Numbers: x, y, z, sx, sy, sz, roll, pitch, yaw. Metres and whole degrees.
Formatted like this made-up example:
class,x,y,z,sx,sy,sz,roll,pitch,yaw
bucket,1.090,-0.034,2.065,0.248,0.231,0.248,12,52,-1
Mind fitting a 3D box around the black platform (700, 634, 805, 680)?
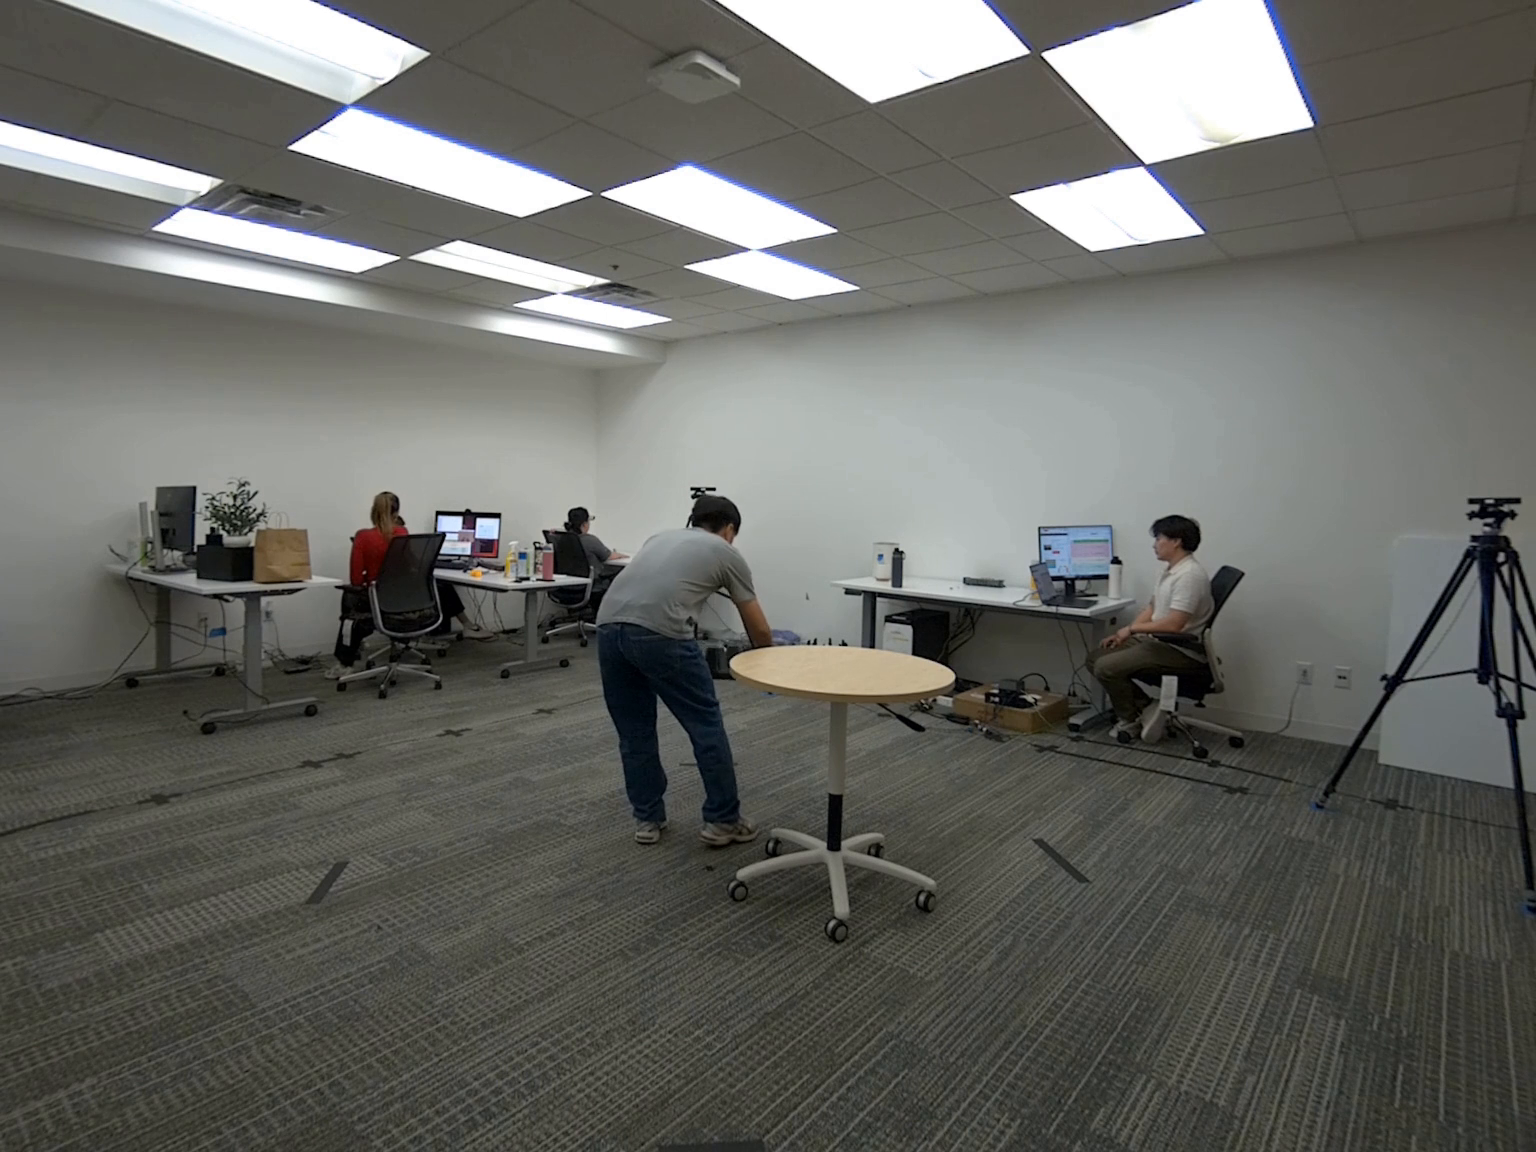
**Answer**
class,x,y,z,sx,sy,sz,roll,pitch,yaw
black platform,-0.208,0.390,3.779,0.817,0.144,0.594,1,-3,13
